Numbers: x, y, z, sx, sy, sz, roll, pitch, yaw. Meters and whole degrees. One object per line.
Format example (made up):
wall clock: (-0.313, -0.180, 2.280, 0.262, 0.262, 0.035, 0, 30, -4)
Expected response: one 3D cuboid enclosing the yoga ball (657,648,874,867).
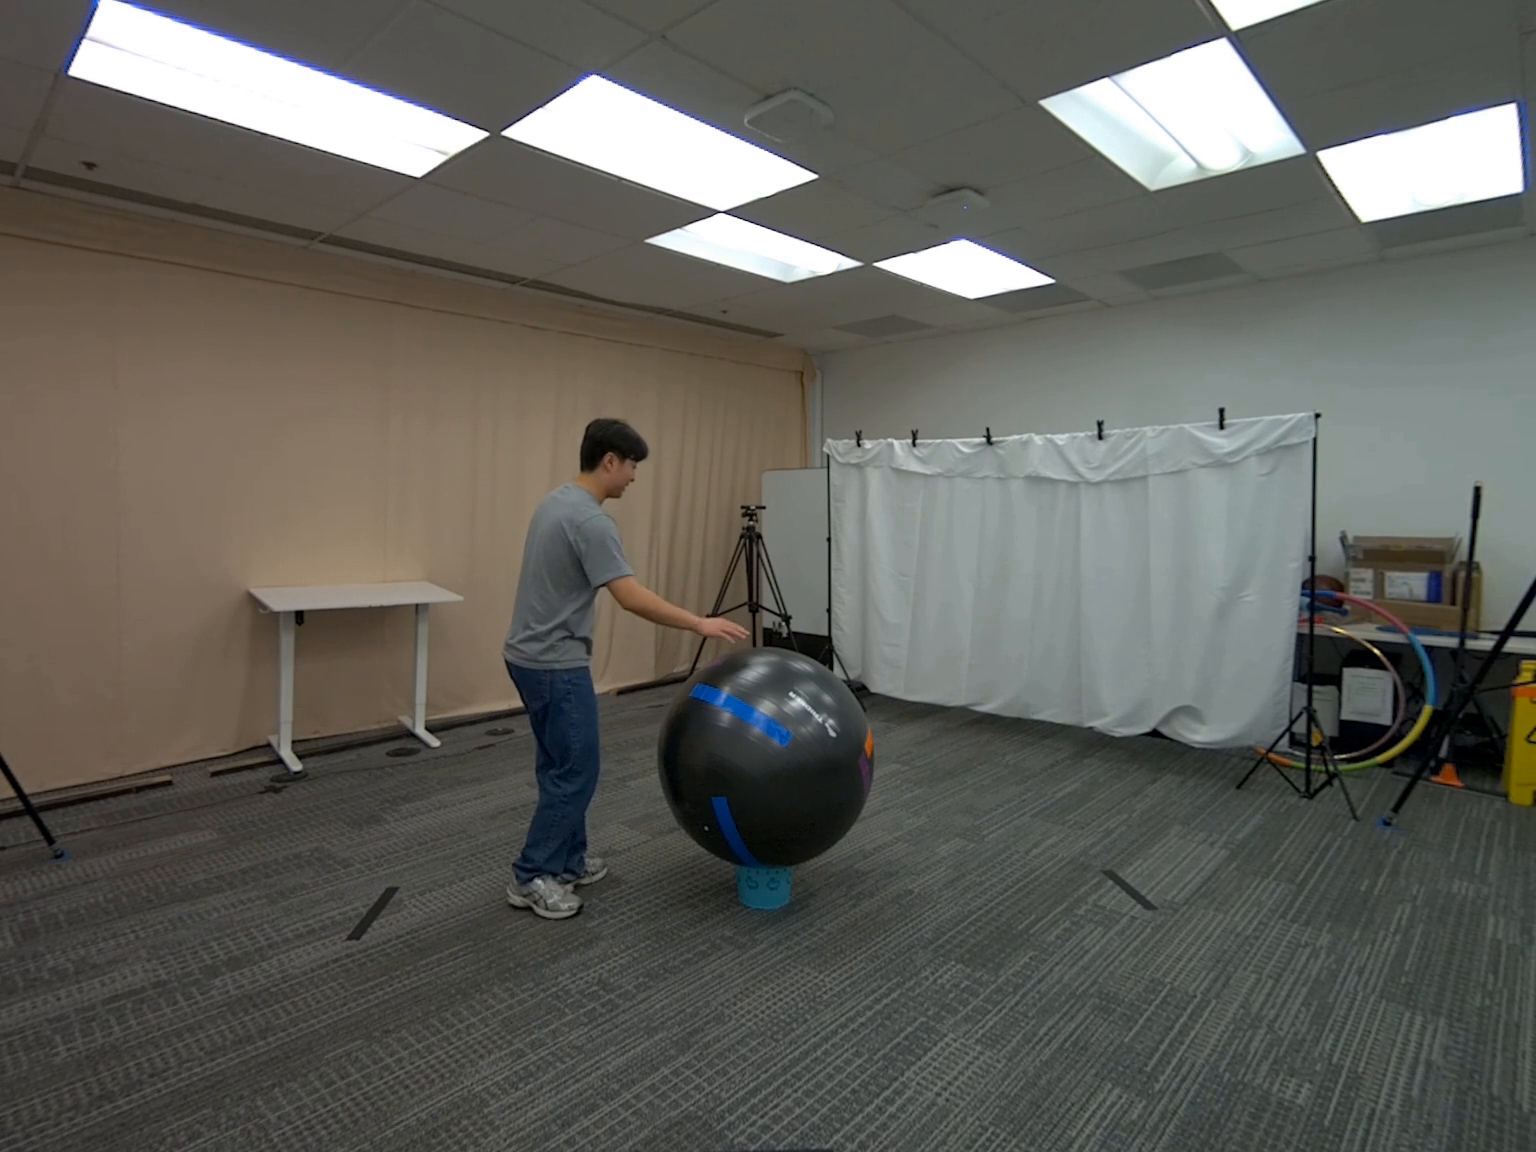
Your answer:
yoga ball: (-0.003, 0.636, 2.974, 0.757, 0.756, 0.760, 0, 4, -2)
